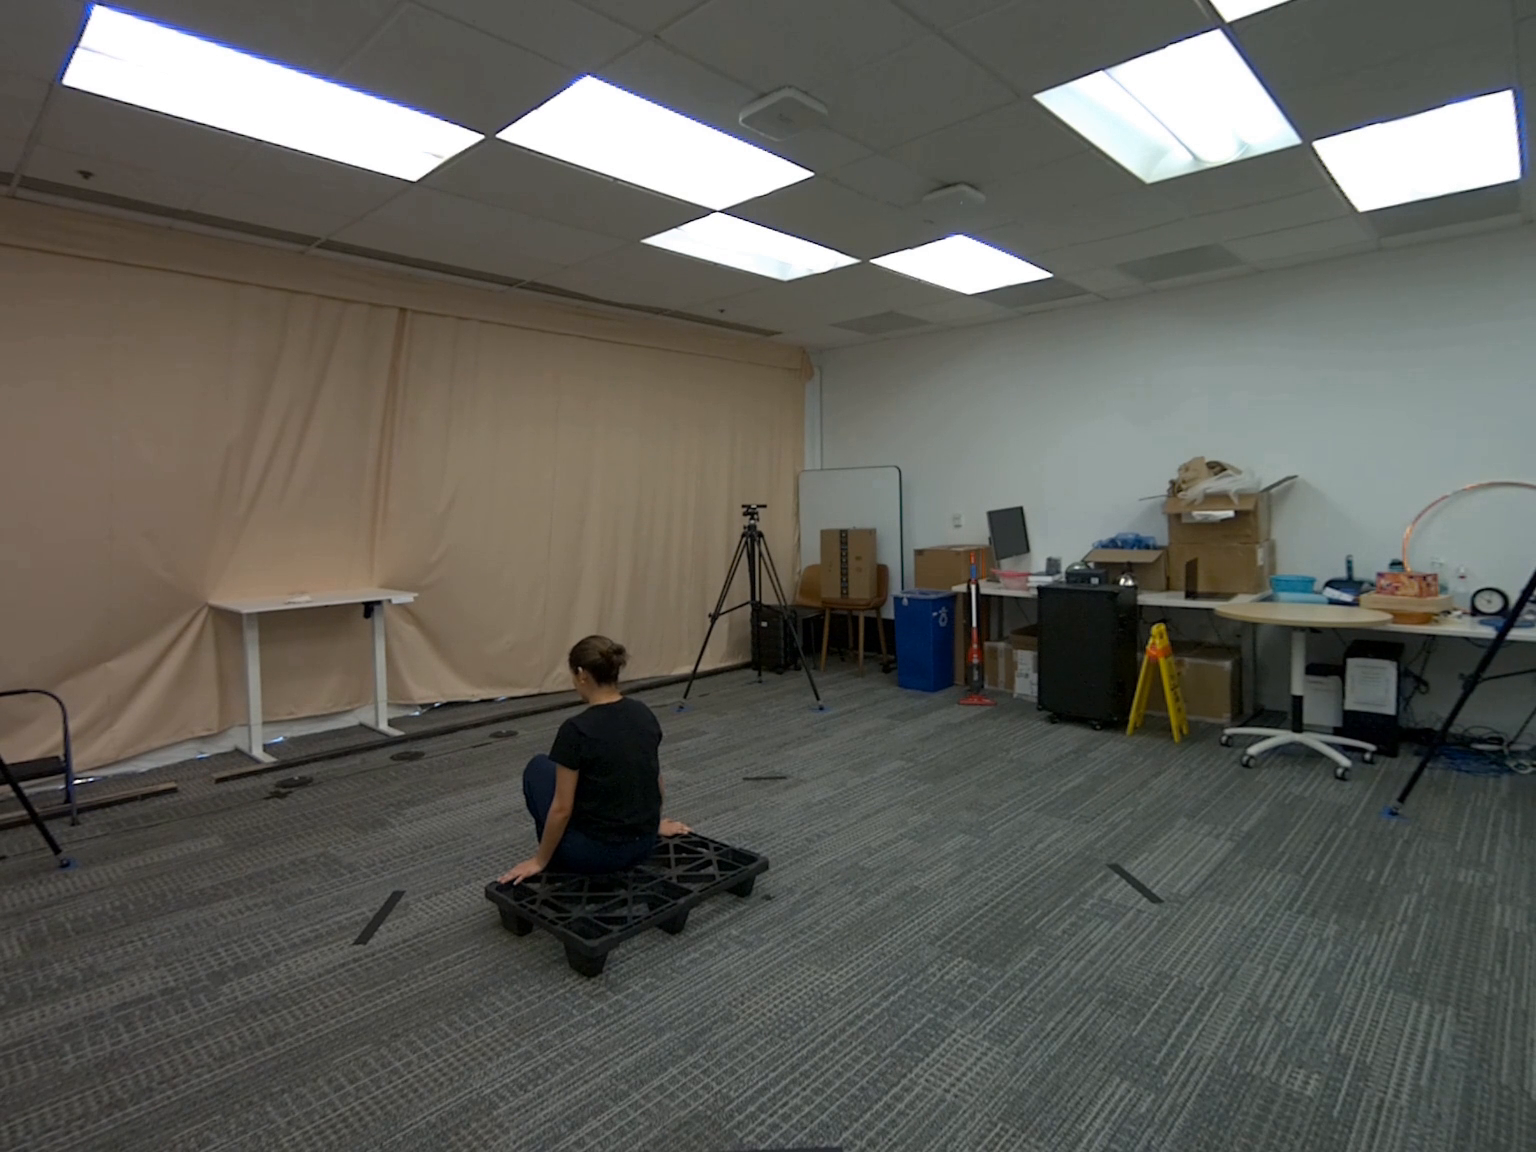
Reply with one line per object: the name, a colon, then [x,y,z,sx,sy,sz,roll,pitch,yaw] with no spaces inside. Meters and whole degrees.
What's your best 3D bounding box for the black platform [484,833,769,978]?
black platform: [-0.448,1.088,2.908,0.625,0.143,0.781,4,7,42]
